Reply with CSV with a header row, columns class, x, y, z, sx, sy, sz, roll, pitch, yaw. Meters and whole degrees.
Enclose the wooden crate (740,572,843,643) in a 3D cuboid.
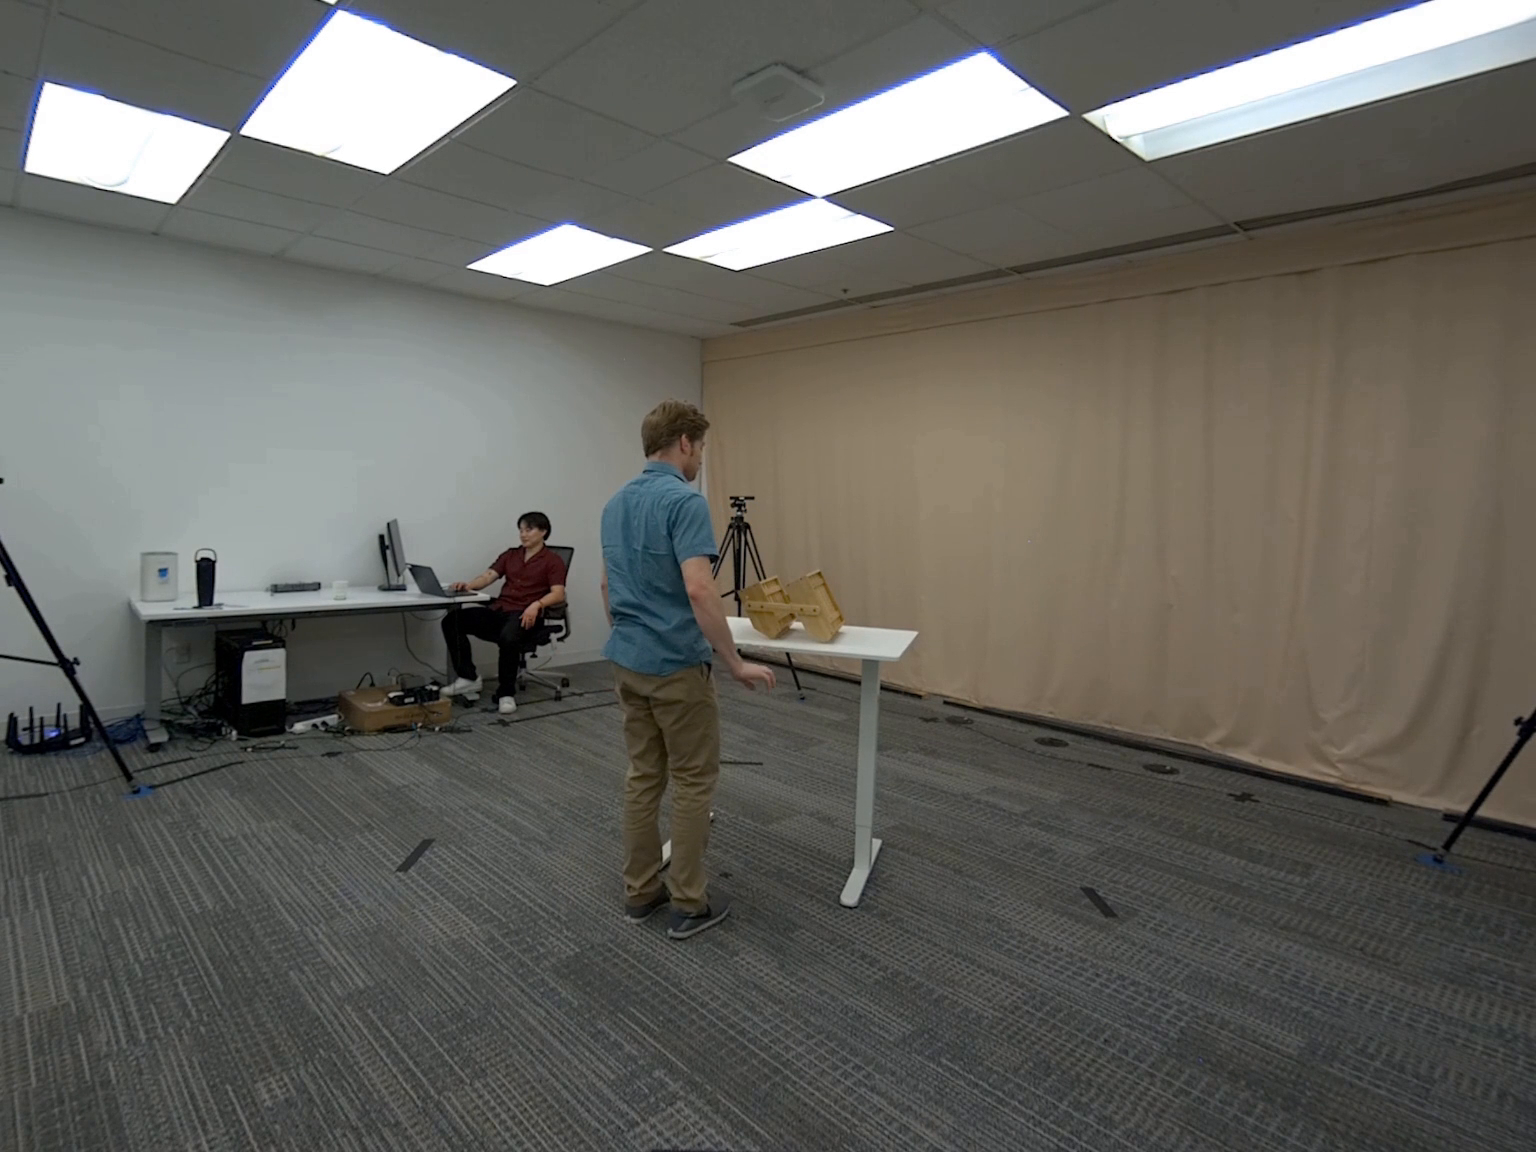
class,x,y,z,sx,sy,sz,roll,pitch,yaw
wooden crate,0.085,0.131,3.171,0.275,0.303,0.321,-25,-3,15
